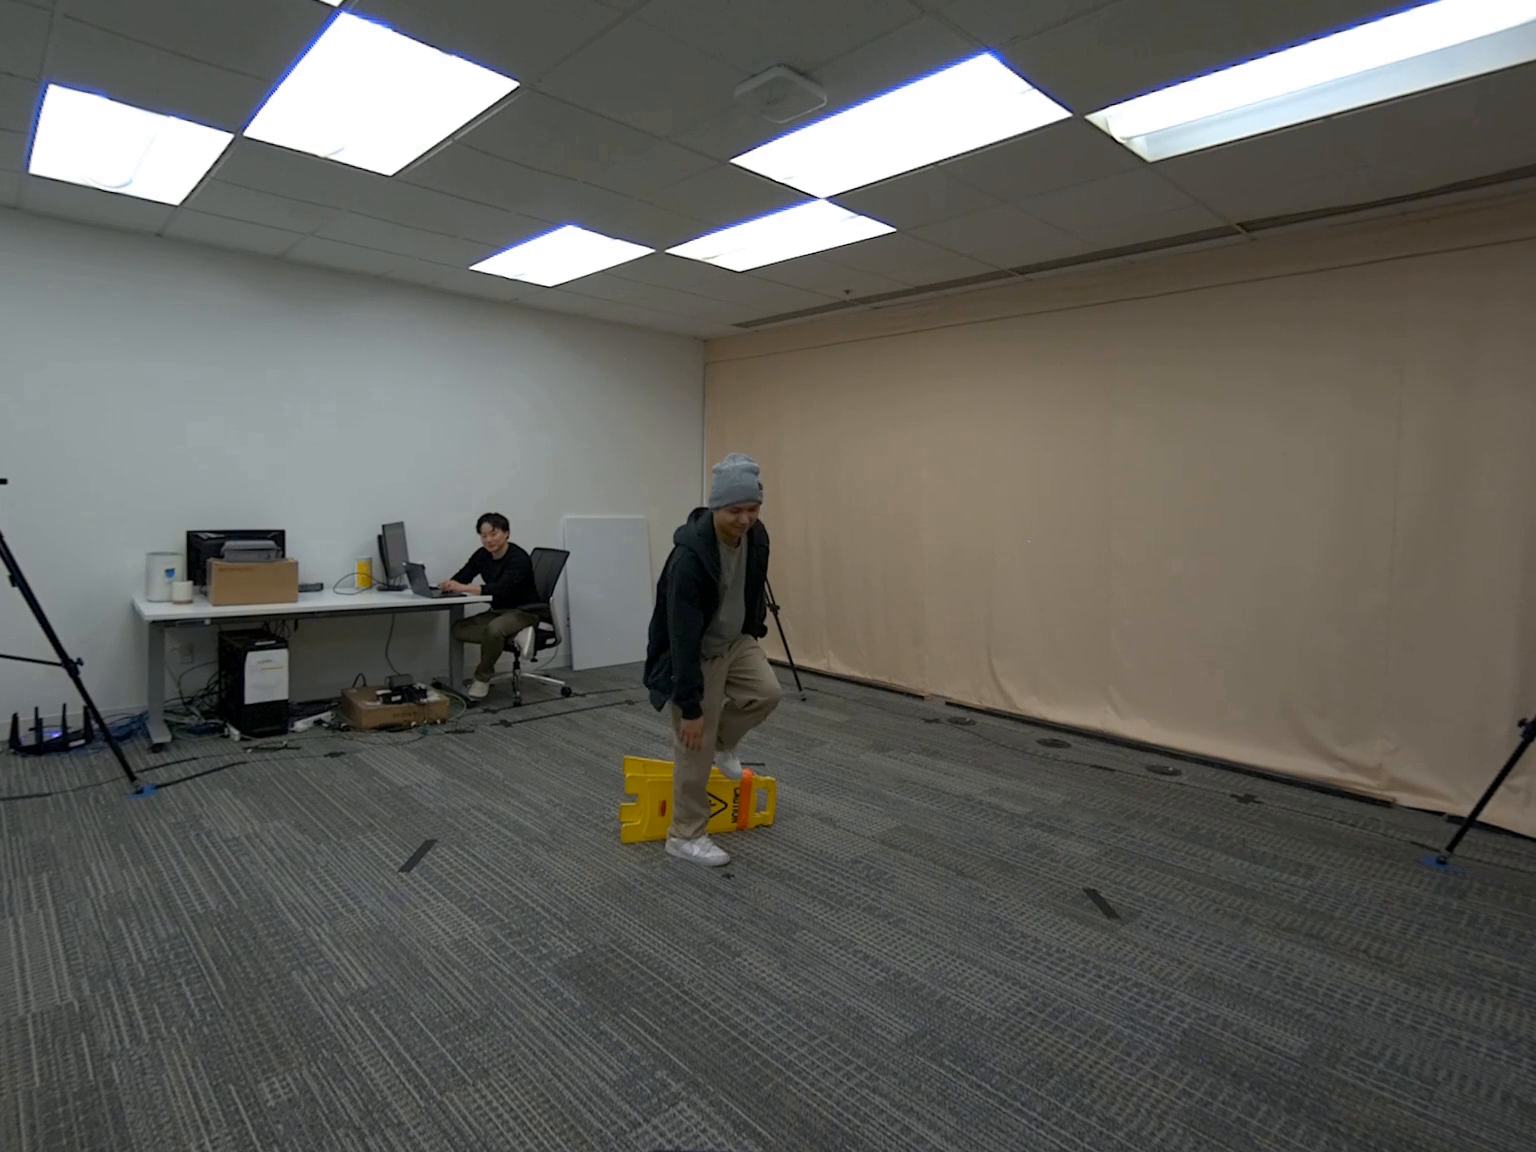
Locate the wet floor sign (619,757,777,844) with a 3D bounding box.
[{"bbox_3d":[-0.298,0.940,3.550,0.640,0.282,0.293,4,3,-10],"label":"wet floor sign"}]
